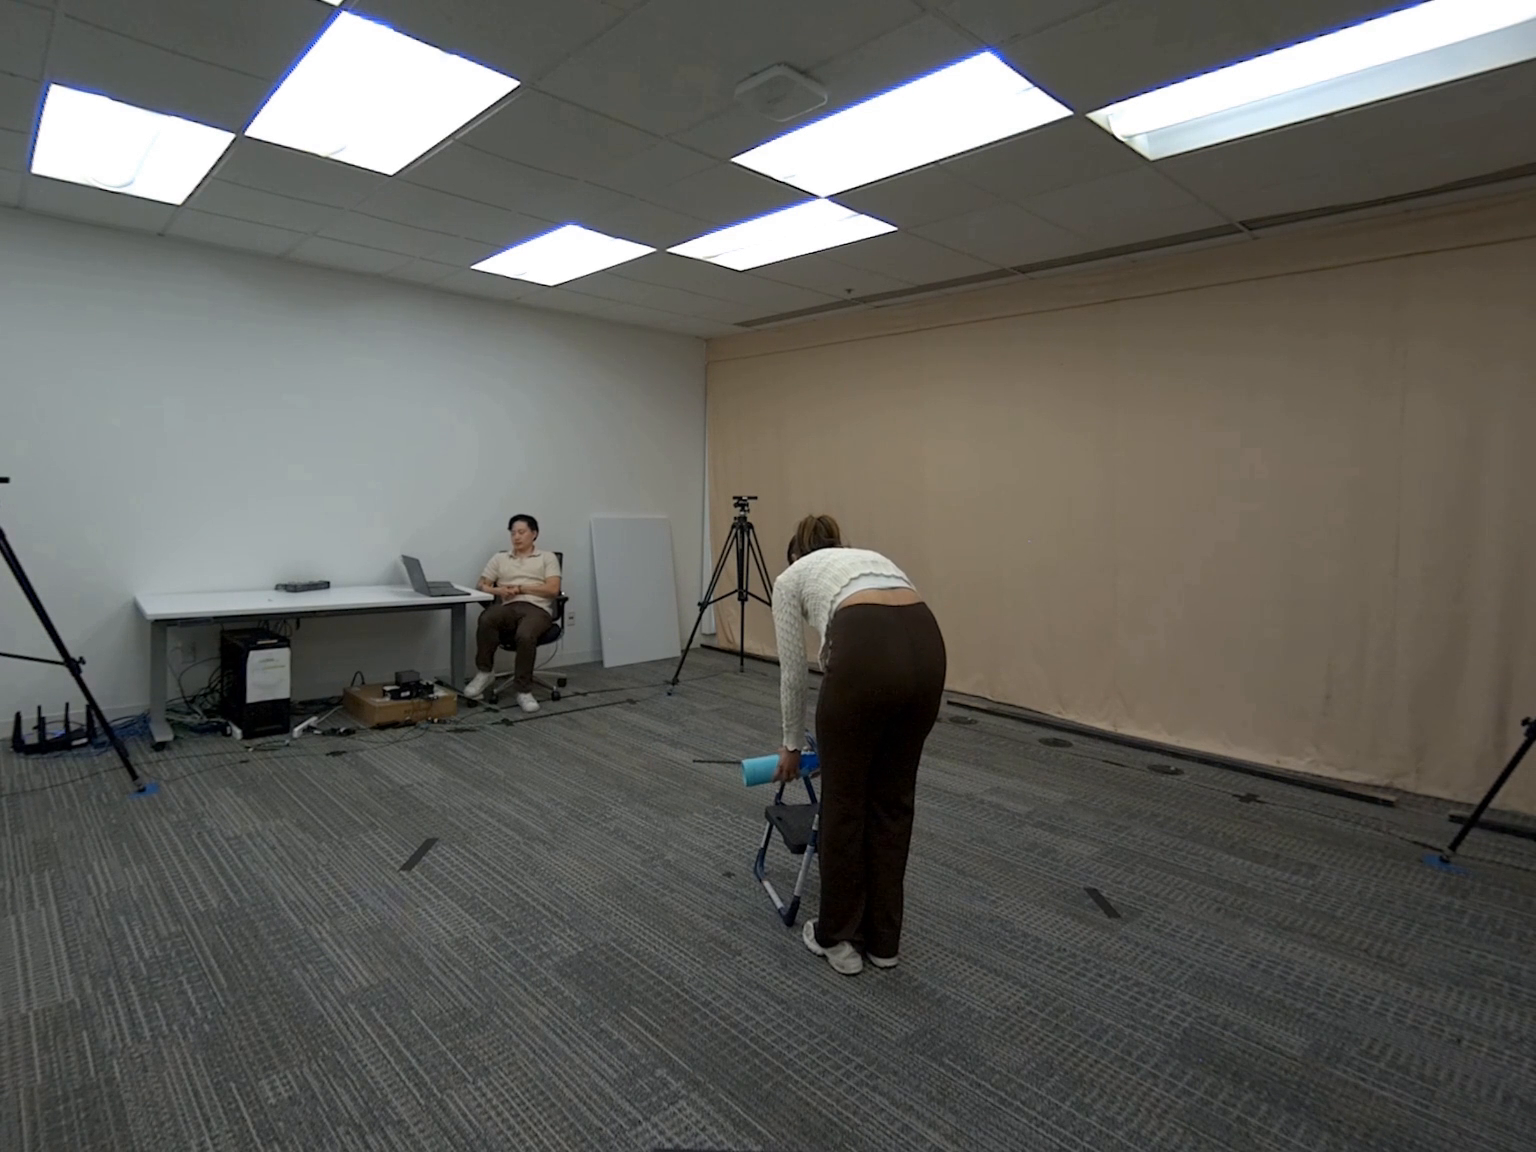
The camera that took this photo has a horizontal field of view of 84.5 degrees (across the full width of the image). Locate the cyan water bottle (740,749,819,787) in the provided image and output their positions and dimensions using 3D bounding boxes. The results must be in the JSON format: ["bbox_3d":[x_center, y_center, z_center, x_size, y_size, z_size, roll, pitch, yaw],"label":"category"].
[{"bbox_3d":[0.047,0.656,2.887,0.282,0.092,0.093,-5,5,-6],"label":"cyan water bottle"}]
